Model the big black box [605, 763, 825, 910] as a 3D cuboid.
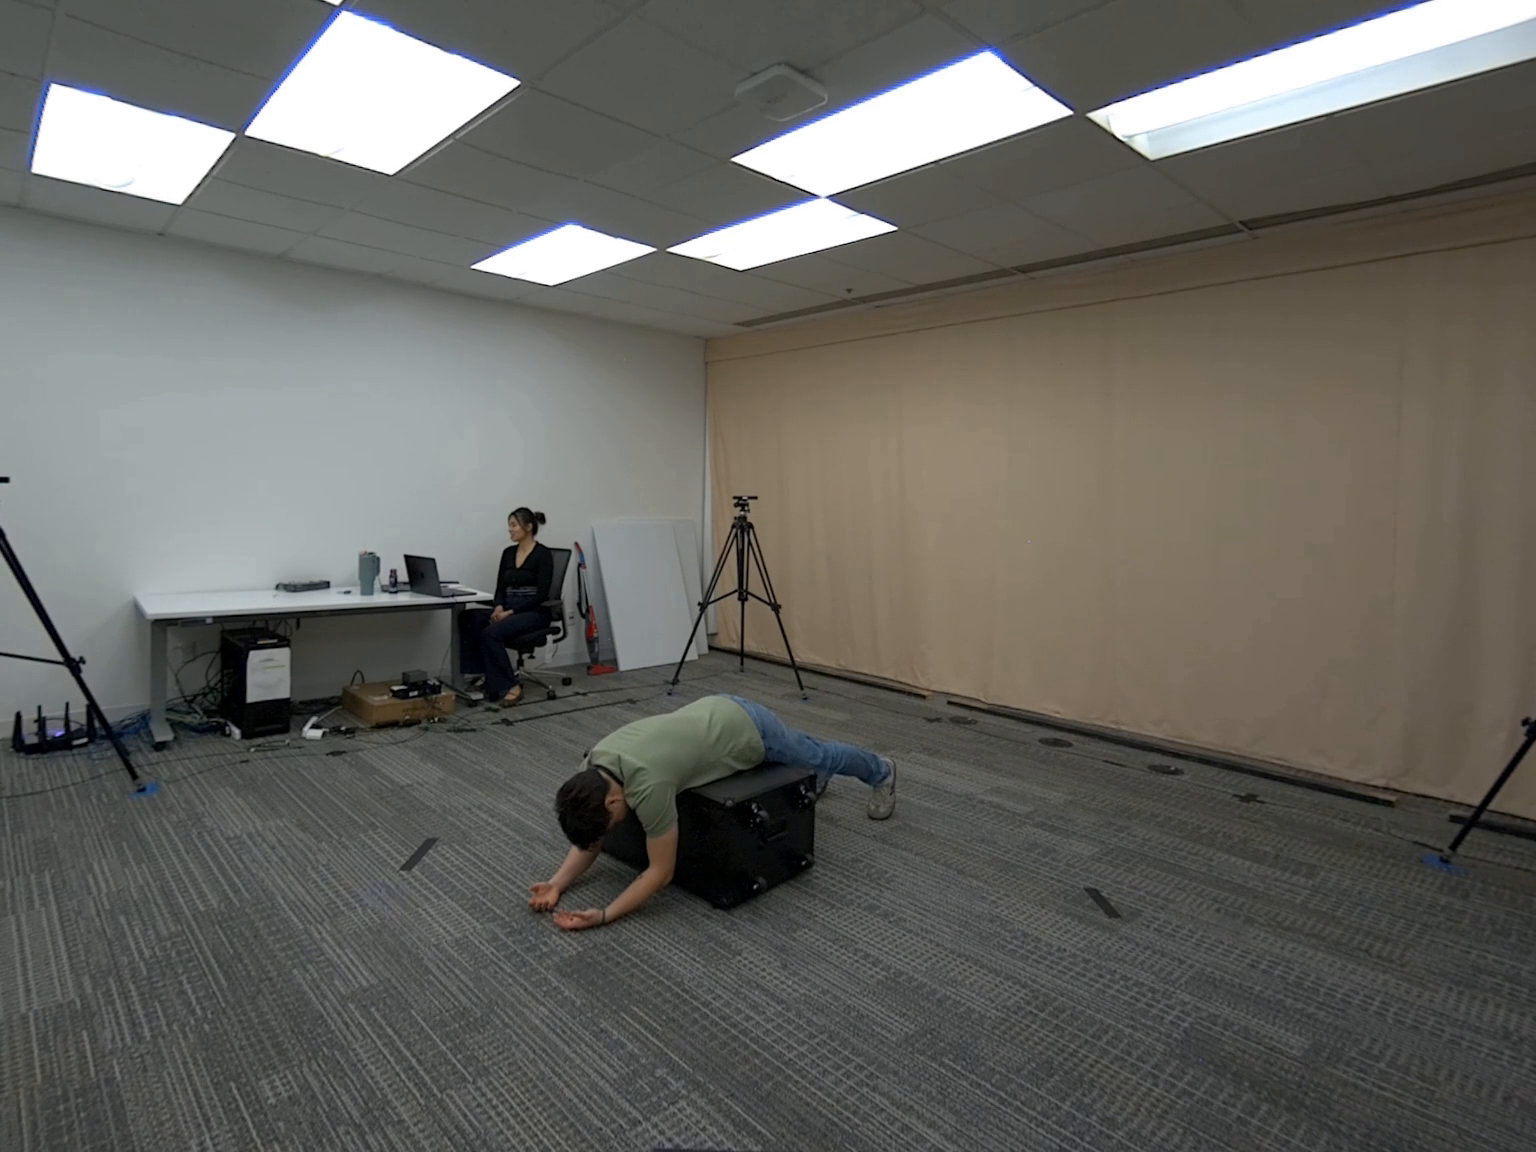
[{"bbox_3d":[-0.254,0.911,3.201,0.883,0.395,0.510,3,5,41],"label":"big black box"}]
